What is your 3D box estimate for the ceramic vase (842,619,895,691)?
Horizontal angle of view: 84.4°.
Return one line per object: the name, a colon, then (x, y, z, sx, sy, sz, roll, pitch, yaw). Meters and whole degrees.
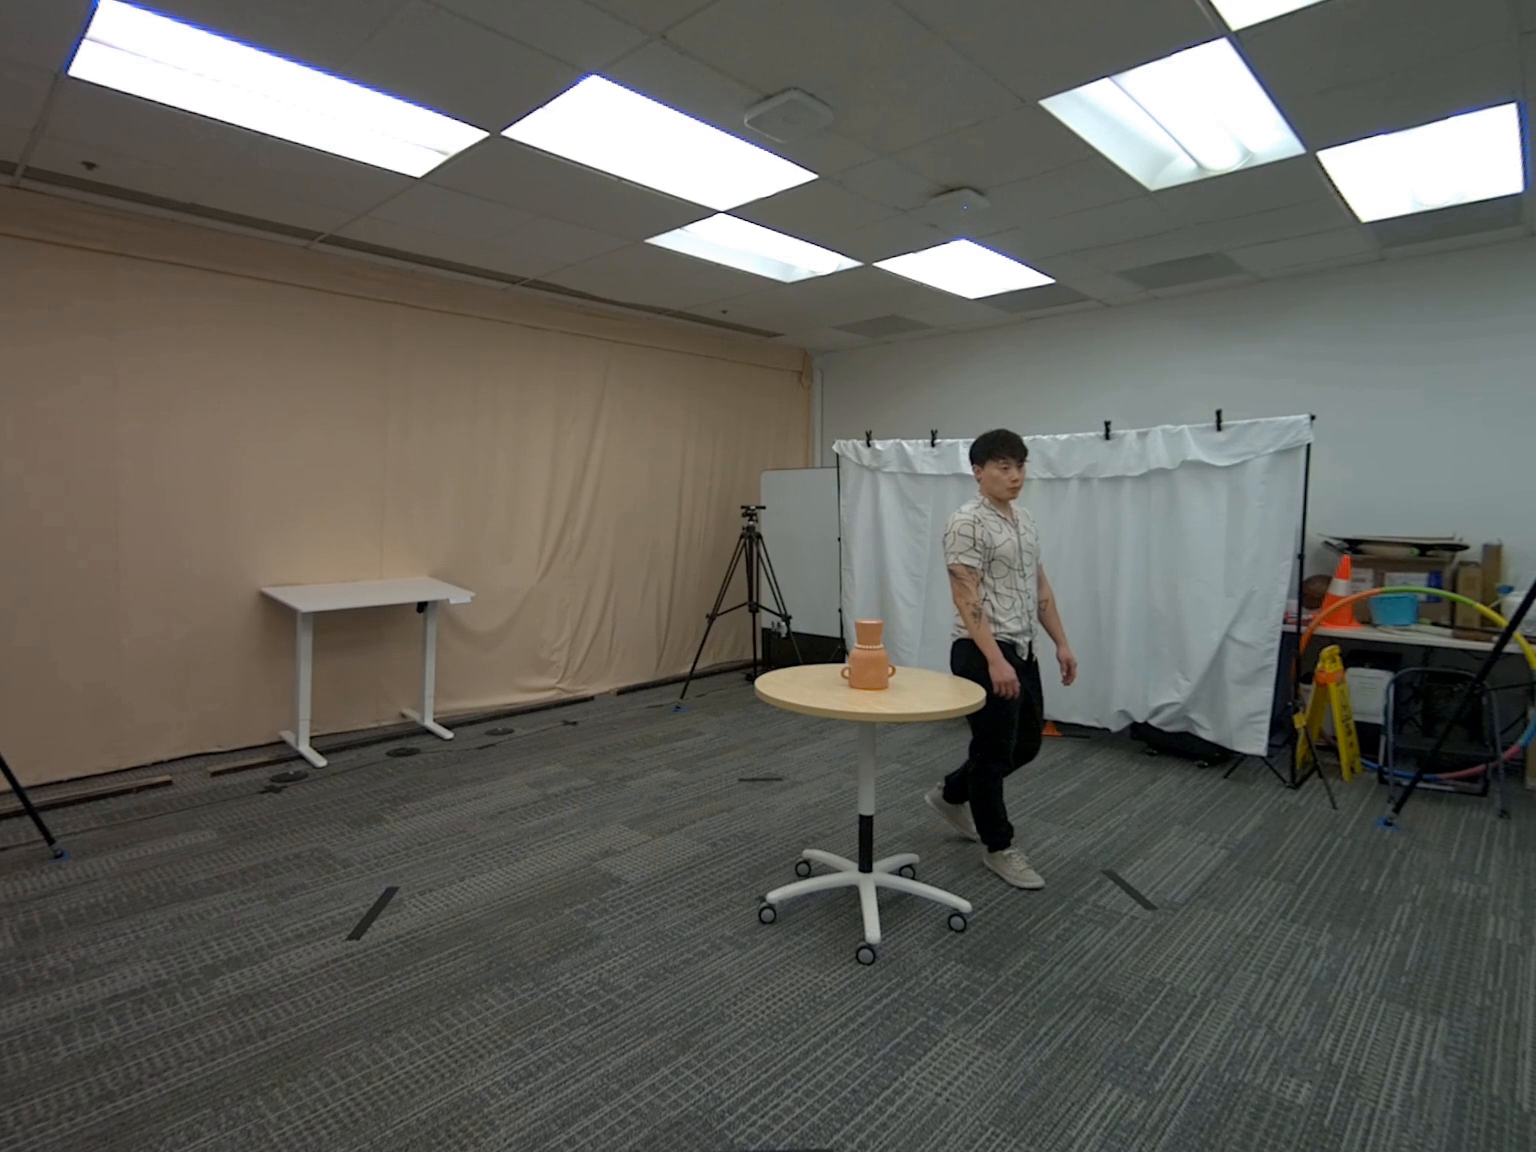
ceramic vase: (0.352, 0.266, 2.831, 0.139, 0.219, 0.154, 4, 4, 34)
